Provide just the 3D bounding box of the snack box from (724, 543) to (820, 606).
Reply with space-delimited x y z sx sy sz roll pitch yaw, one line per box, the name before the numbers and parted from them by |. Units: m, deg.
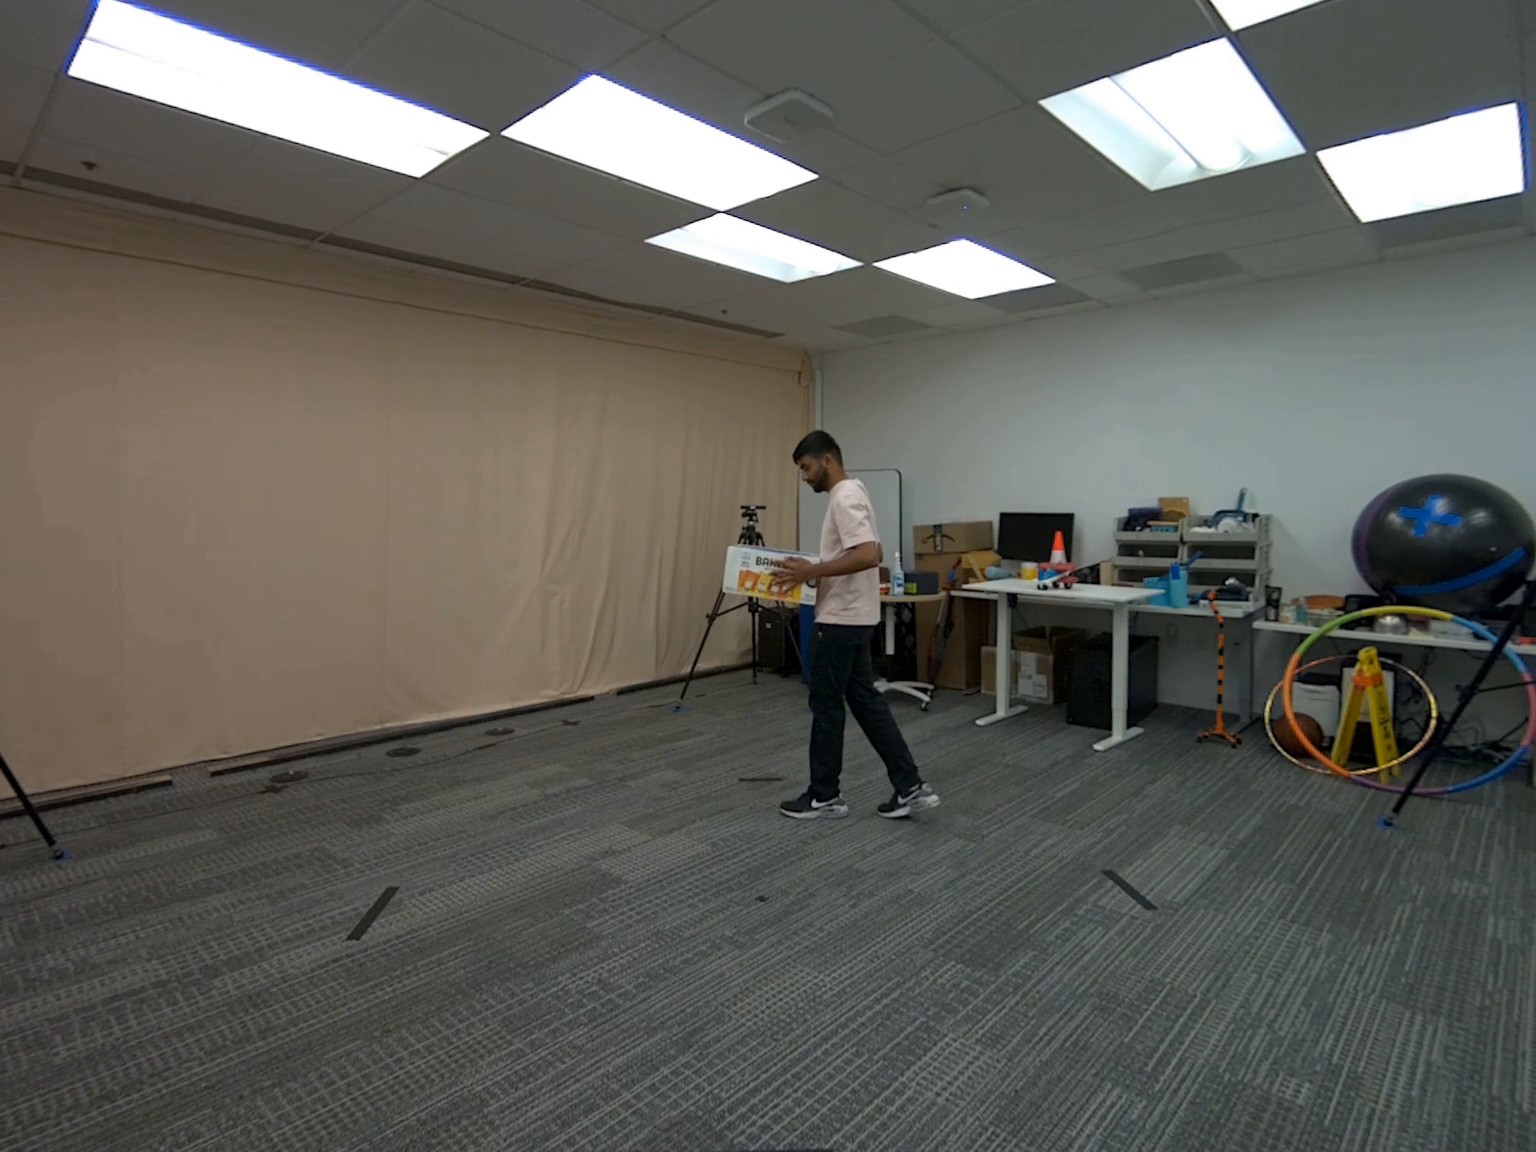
snack box | 0.036 -0.016 3.800 0.409 0.205 0.338 7 5 7
